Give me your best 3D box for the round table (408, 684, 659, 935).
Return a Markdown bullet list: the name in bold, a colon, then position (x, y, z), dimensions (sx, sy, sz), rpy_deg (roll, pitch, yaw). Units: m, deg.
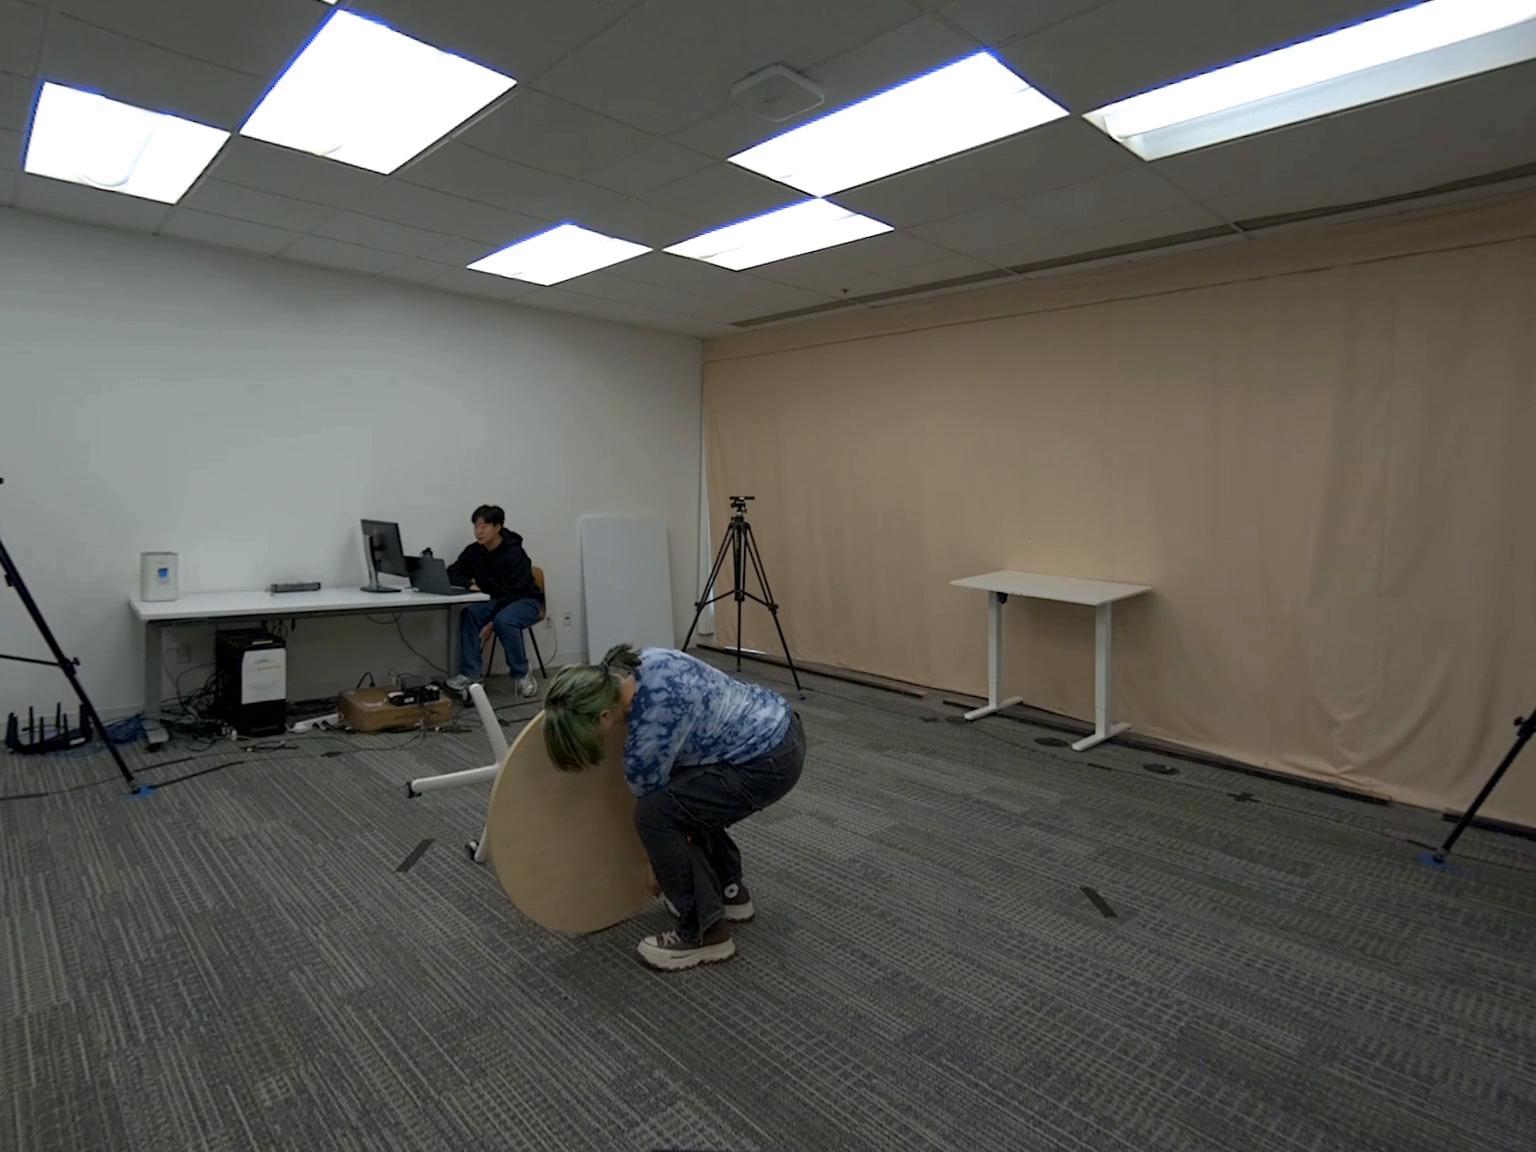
- **round table**: position (-0.805, 0.742, 2.993), dimensions (0.746, 0.764, 0.812), rpy_deg (-2, 1, -42)
